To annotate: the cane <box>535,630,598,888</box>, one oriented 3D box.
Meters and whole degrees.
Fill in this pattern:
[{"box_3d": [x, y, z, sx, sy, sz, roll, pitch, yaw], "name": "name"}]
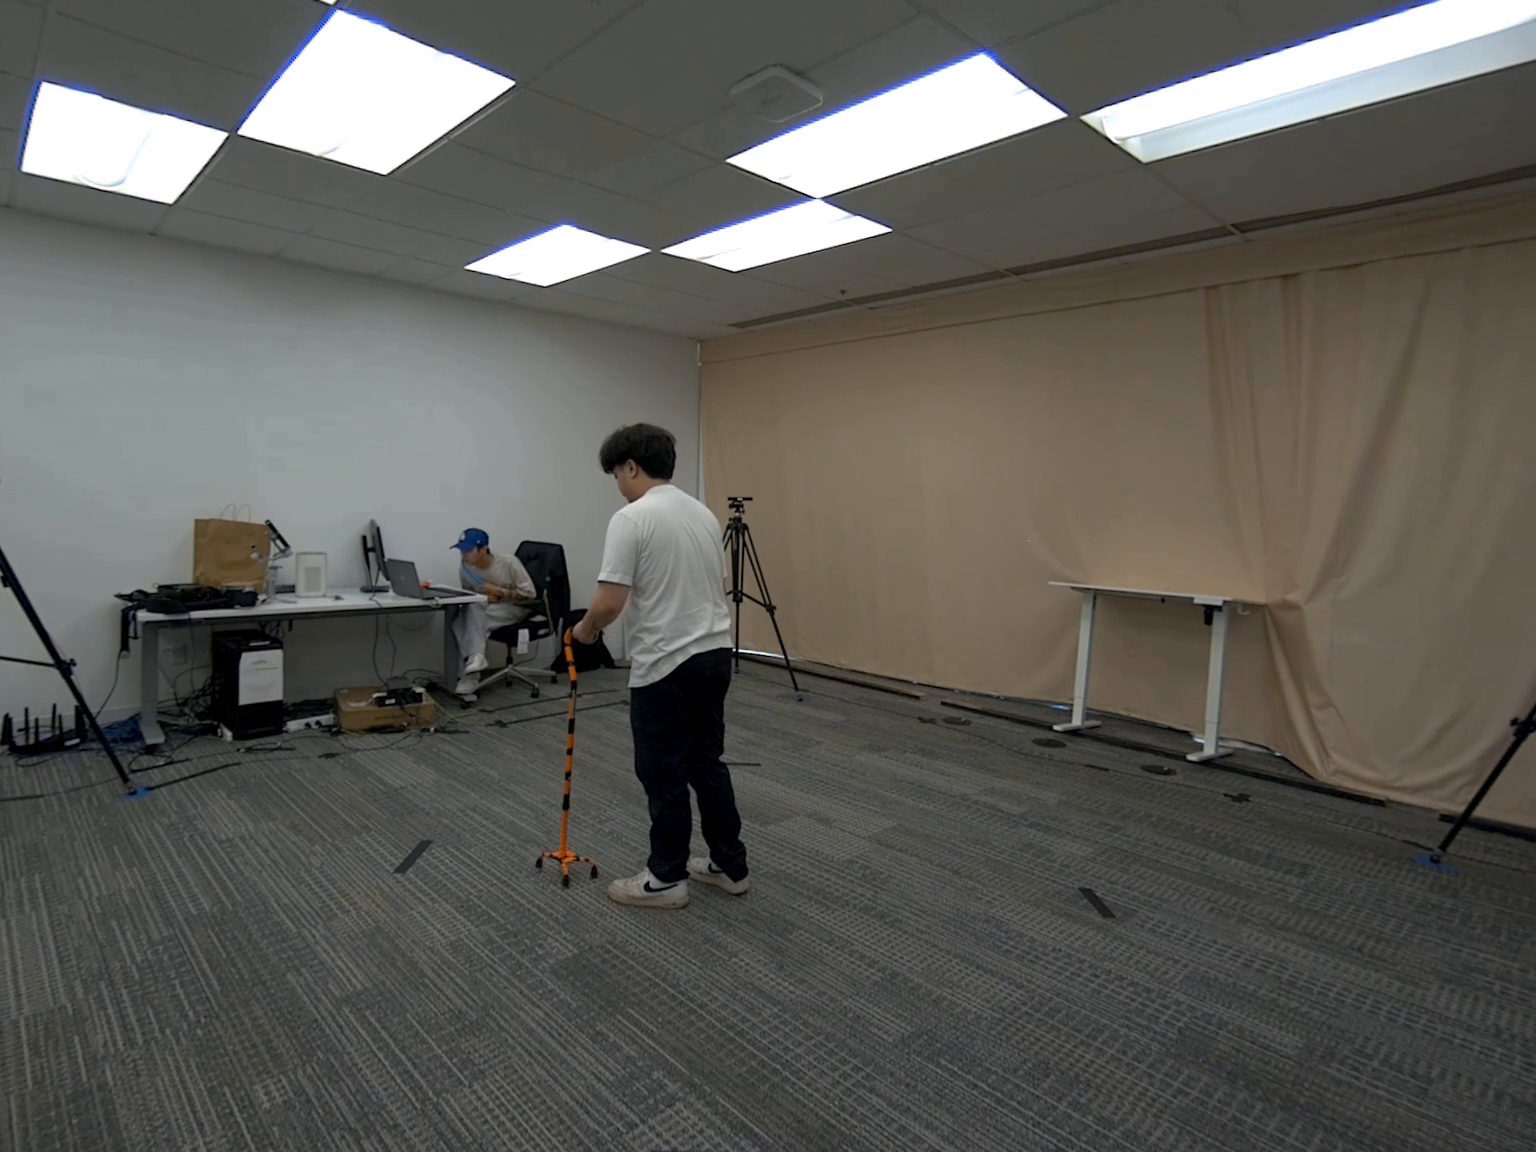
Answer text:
[{"box_3d": [-0.708, 0.629, 3.070, 0.148, 0.906, 0.212, 2, 3, -43], "name": "cane"}]
